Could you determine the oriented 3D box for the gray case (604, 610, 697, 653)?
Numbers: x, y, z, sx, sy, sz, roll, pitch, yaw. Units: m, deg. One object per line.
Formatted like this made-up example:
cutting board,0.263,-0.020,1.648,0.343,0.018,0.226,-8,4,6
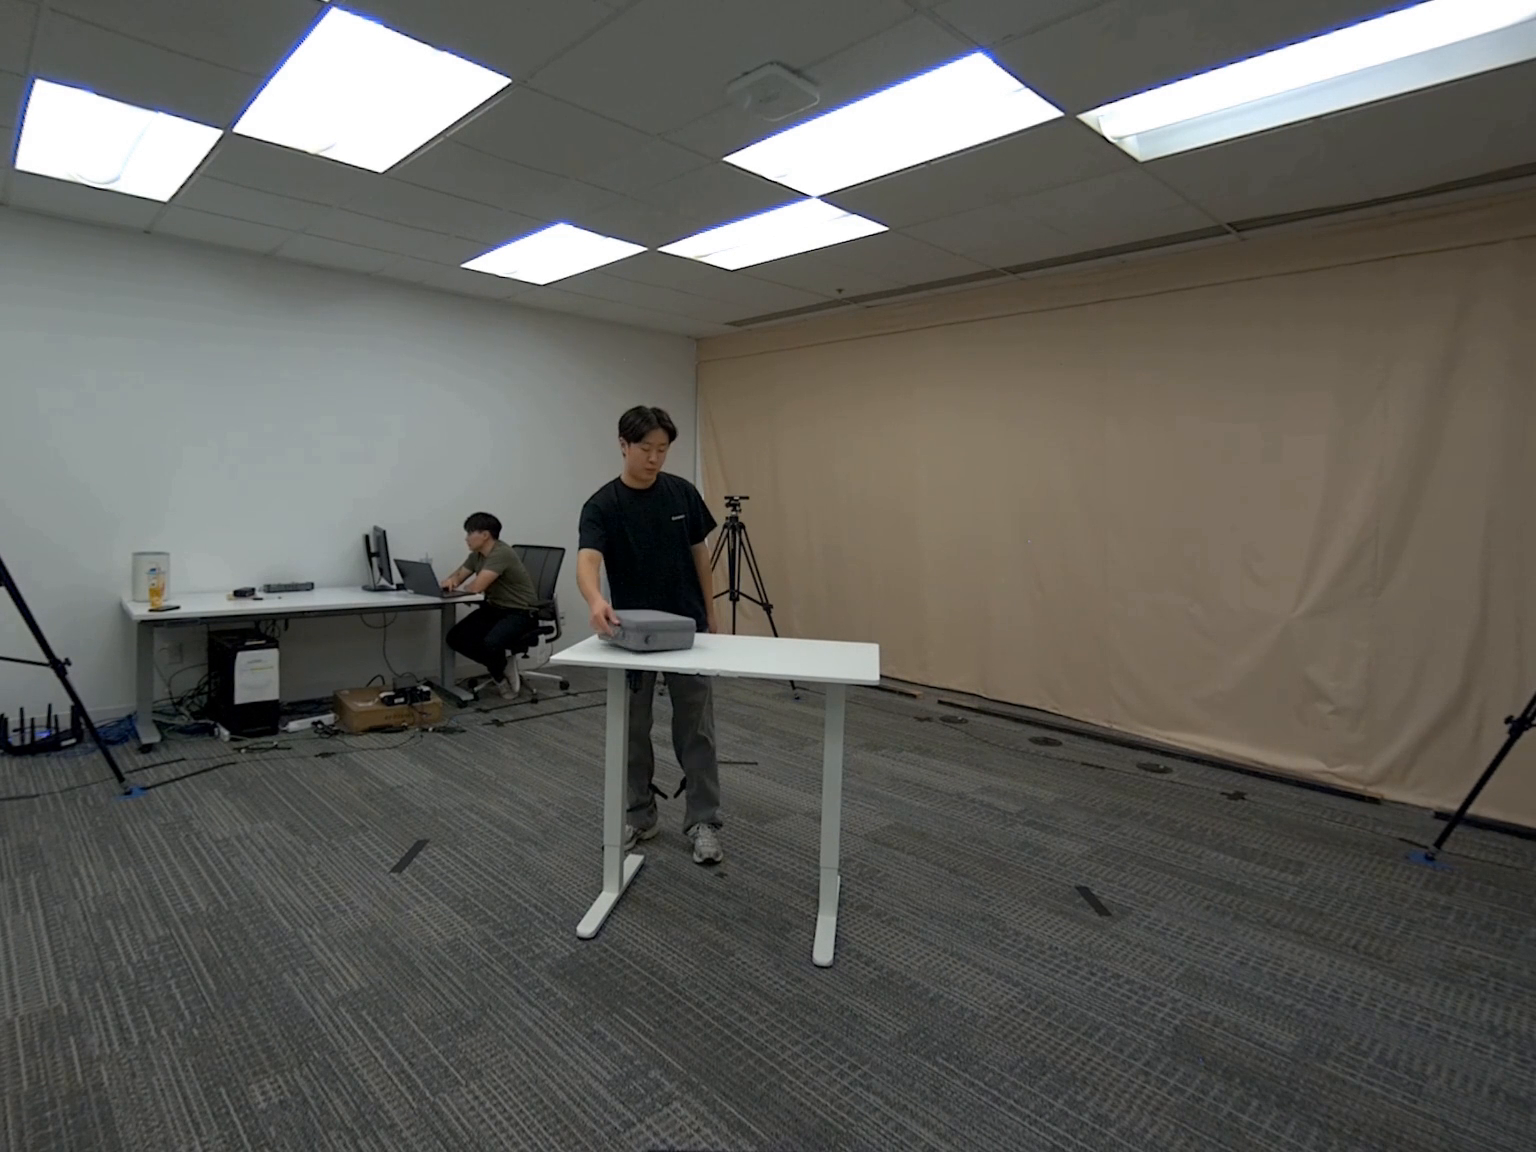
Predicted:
gray case,-0.421,0.175,2.815,0.280,0.103,0.270,2,5,-41
